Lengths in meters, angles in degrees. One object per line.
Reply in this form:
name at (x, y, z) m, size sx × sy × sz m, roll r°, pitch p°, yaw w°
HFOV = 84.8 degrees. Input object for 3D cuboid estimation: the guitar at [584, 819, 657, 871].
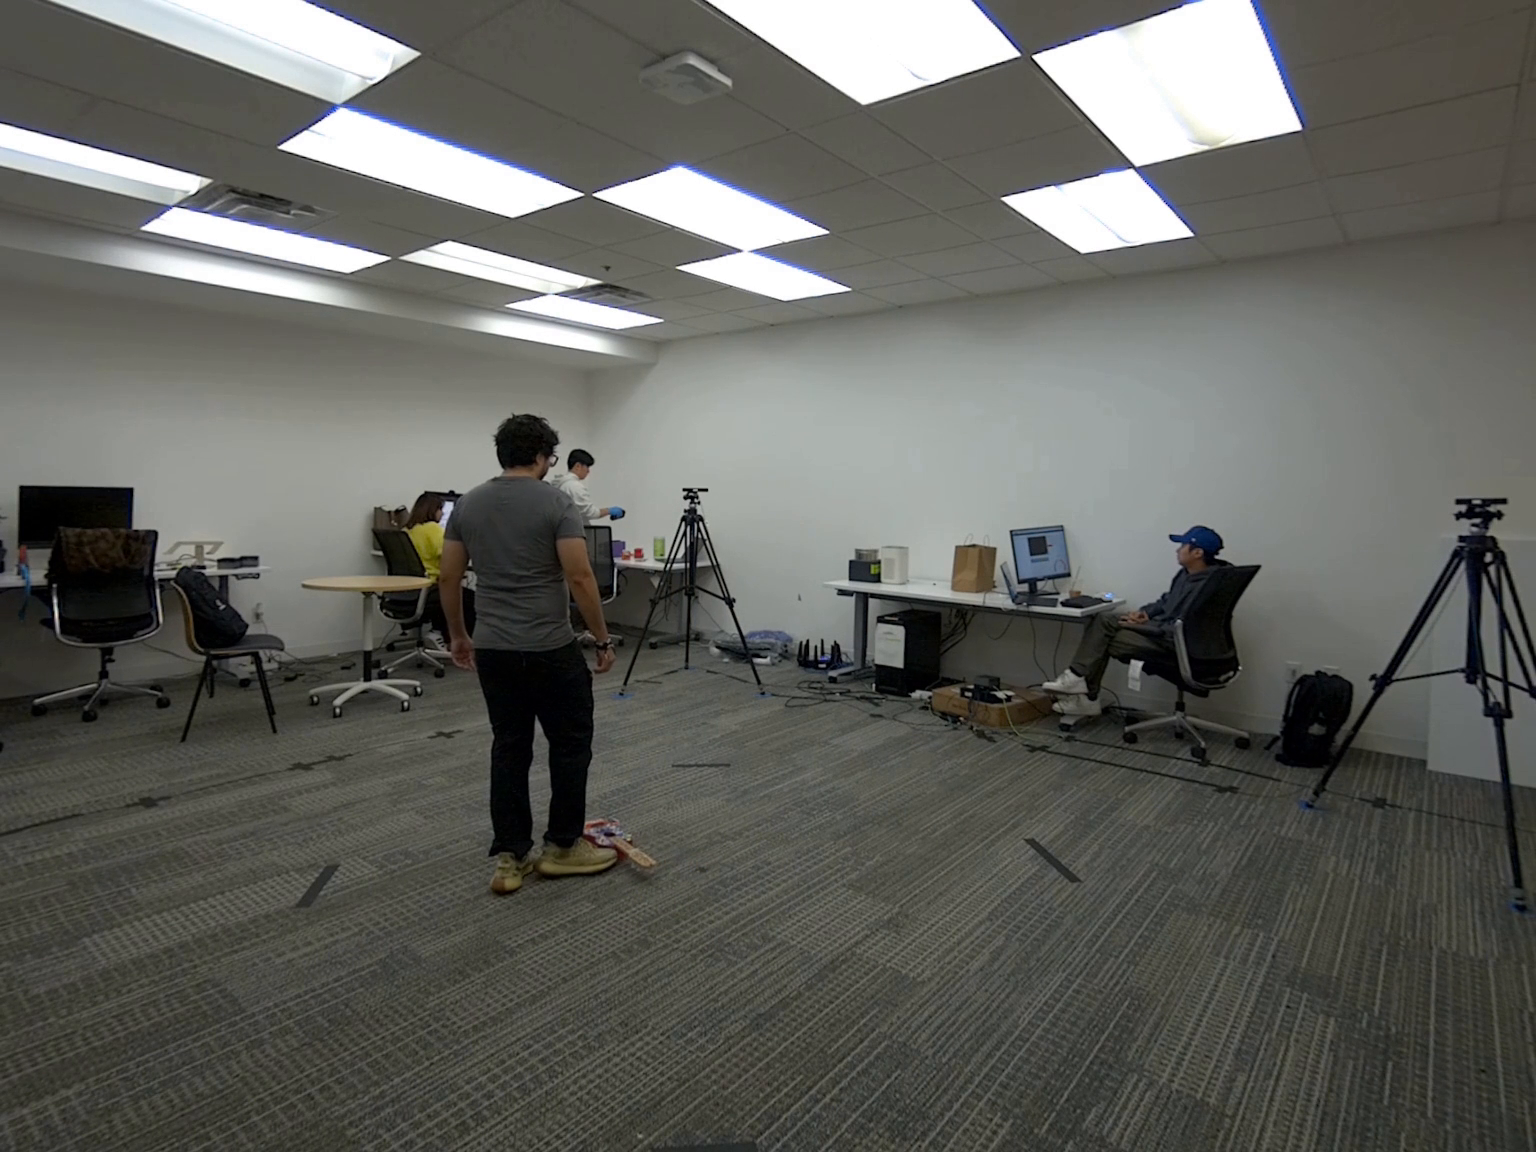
guitar at (-0.597, 1.020, 3.183) m, size 0.188 × 0.070 × 0.512 m, roll 0°, pitch 5°, yaw -28°
